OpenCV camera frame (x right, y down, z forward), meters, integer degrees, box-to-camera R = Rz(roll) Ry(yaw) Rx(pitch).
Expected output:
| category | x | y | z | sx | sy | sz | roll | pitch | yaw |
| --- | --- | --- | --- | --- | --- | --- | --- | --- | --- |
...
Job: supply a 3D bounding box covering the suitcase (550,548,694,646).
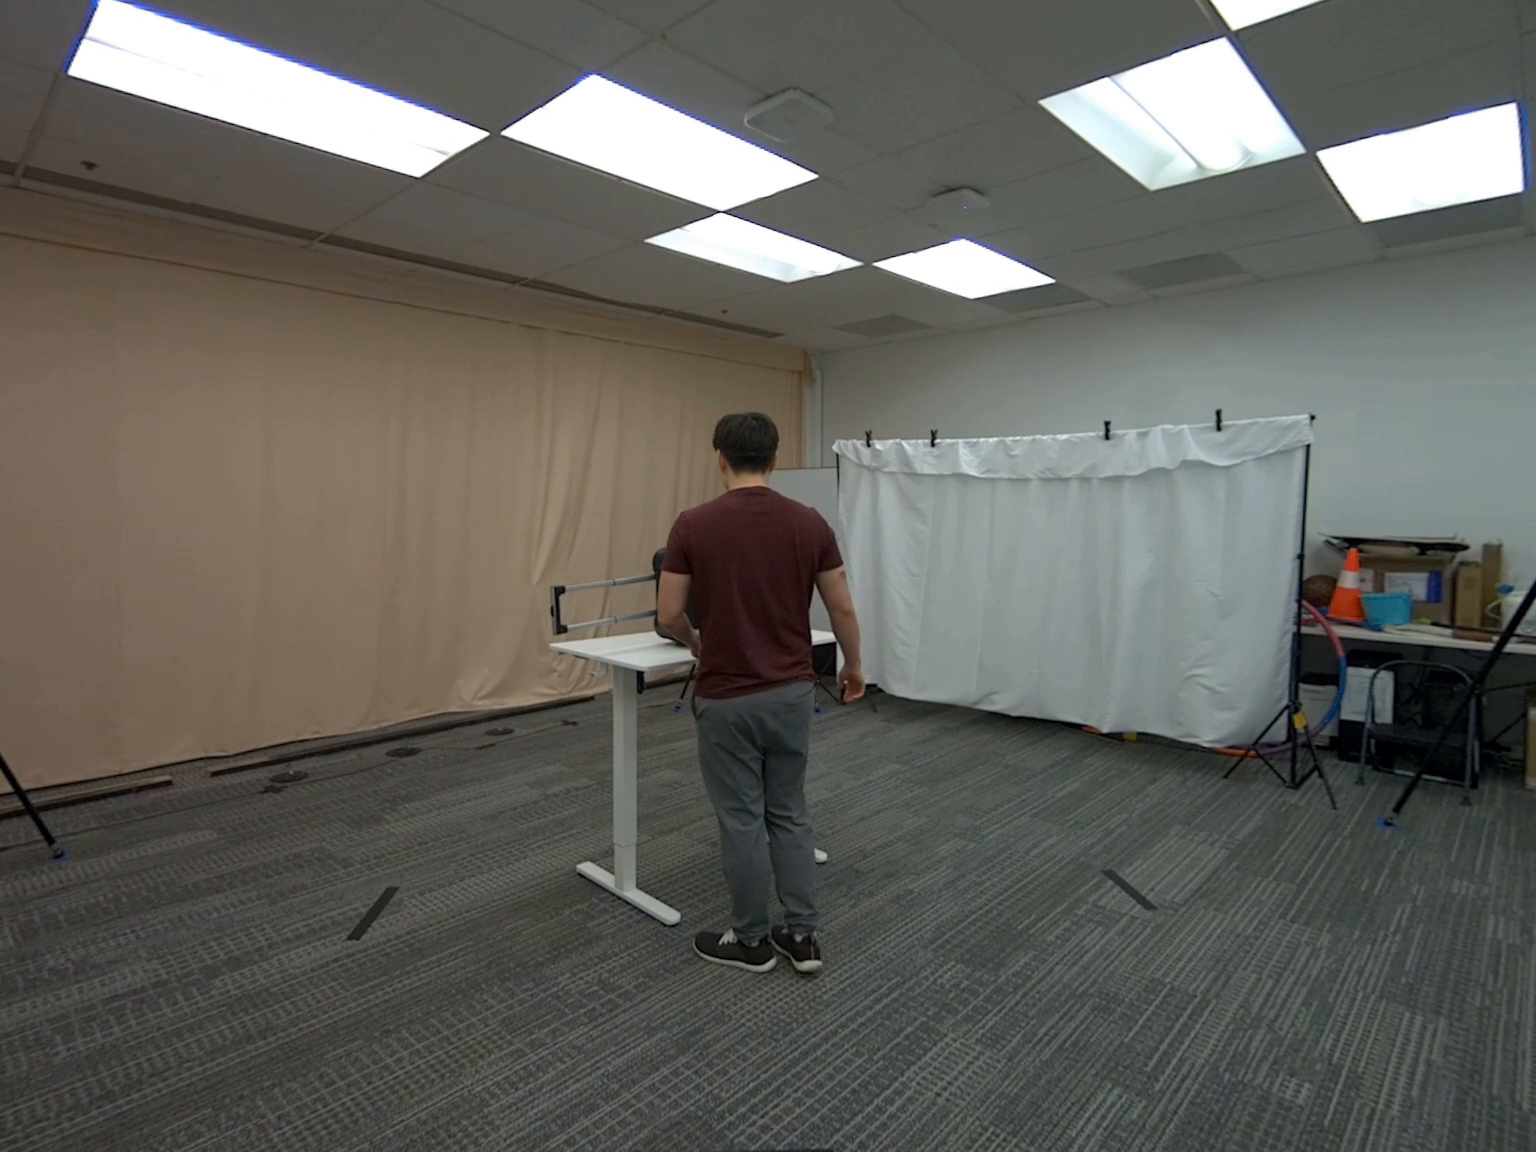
| category | x | y | z | sx | sy | sz | roll | pitch | yaw |
| --- | --- | --- | --- | --- | --- | --- | --- | --- | --- |
| suitcase | -0.306 | 0.073 | 3.042 | 0.265 | 0.383 | 0.949 | 3 | 5 | 39 |
